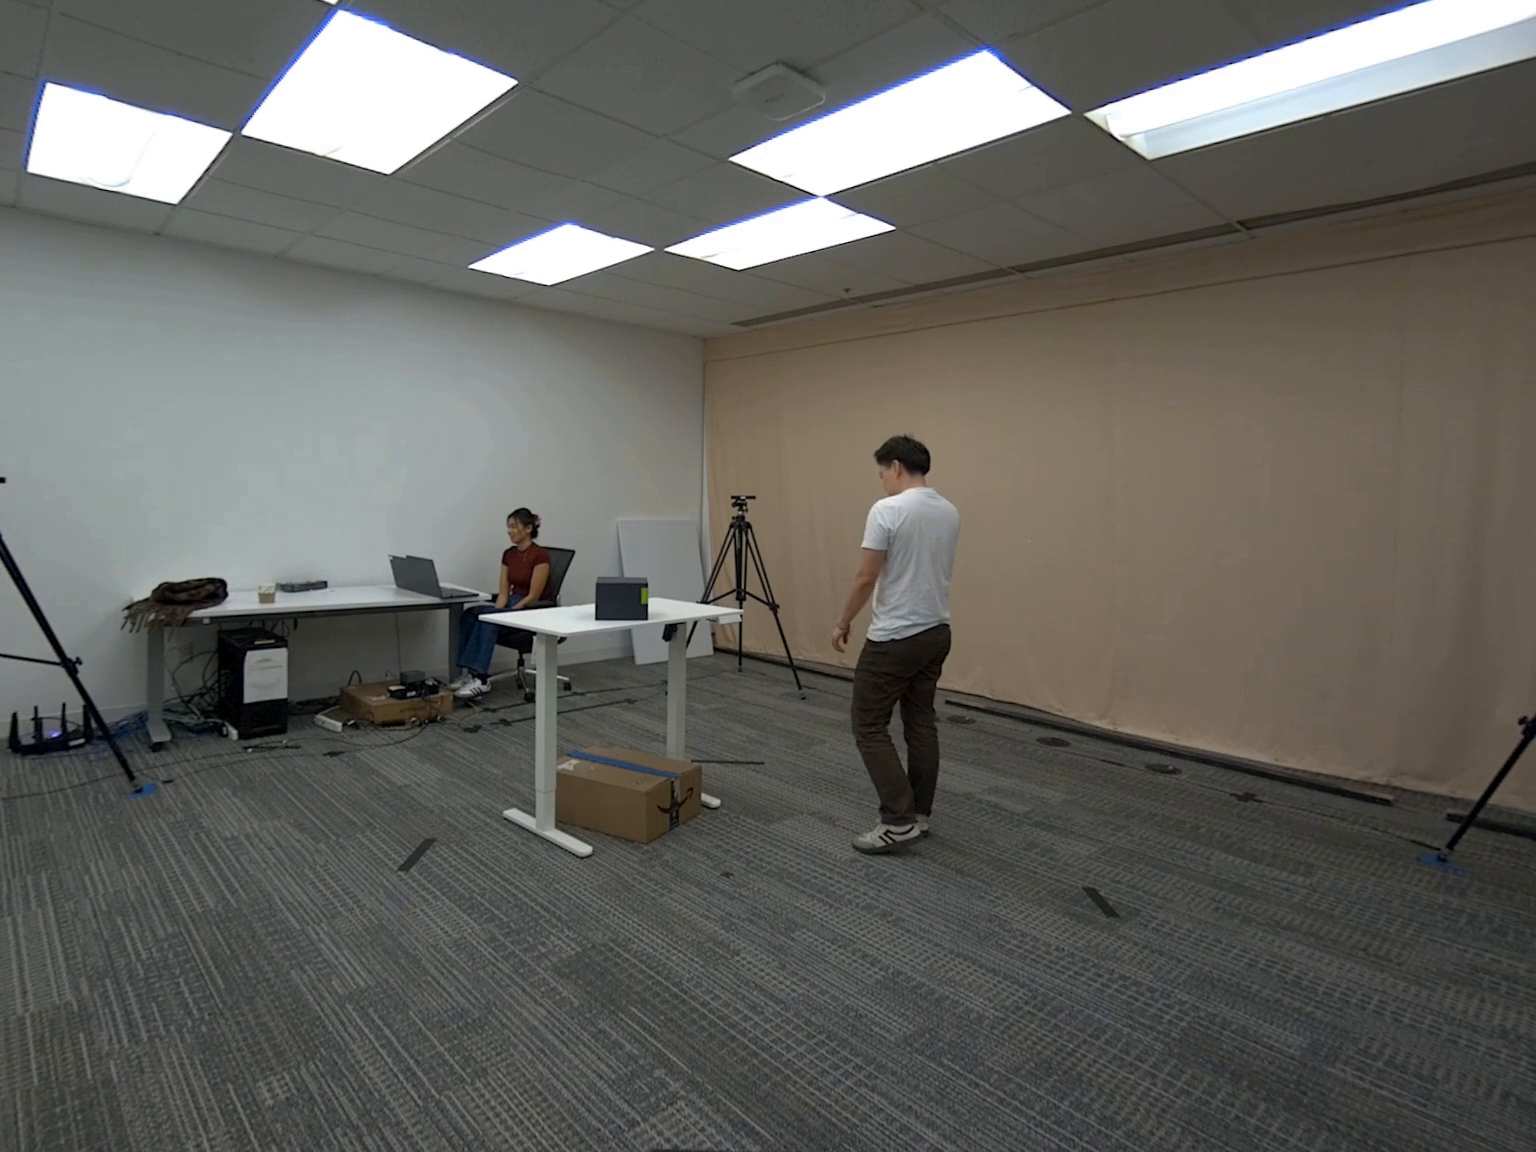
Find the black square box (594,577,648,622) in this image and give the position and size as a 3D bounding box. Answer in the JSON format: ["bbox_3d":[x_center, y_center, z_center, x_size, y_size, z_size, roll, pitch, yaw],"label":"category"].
[{"bbox_3d":[-0.621,0.091,3.529,0.215,0.155,0.230,0,5,-11],"label":"black square box"}]
